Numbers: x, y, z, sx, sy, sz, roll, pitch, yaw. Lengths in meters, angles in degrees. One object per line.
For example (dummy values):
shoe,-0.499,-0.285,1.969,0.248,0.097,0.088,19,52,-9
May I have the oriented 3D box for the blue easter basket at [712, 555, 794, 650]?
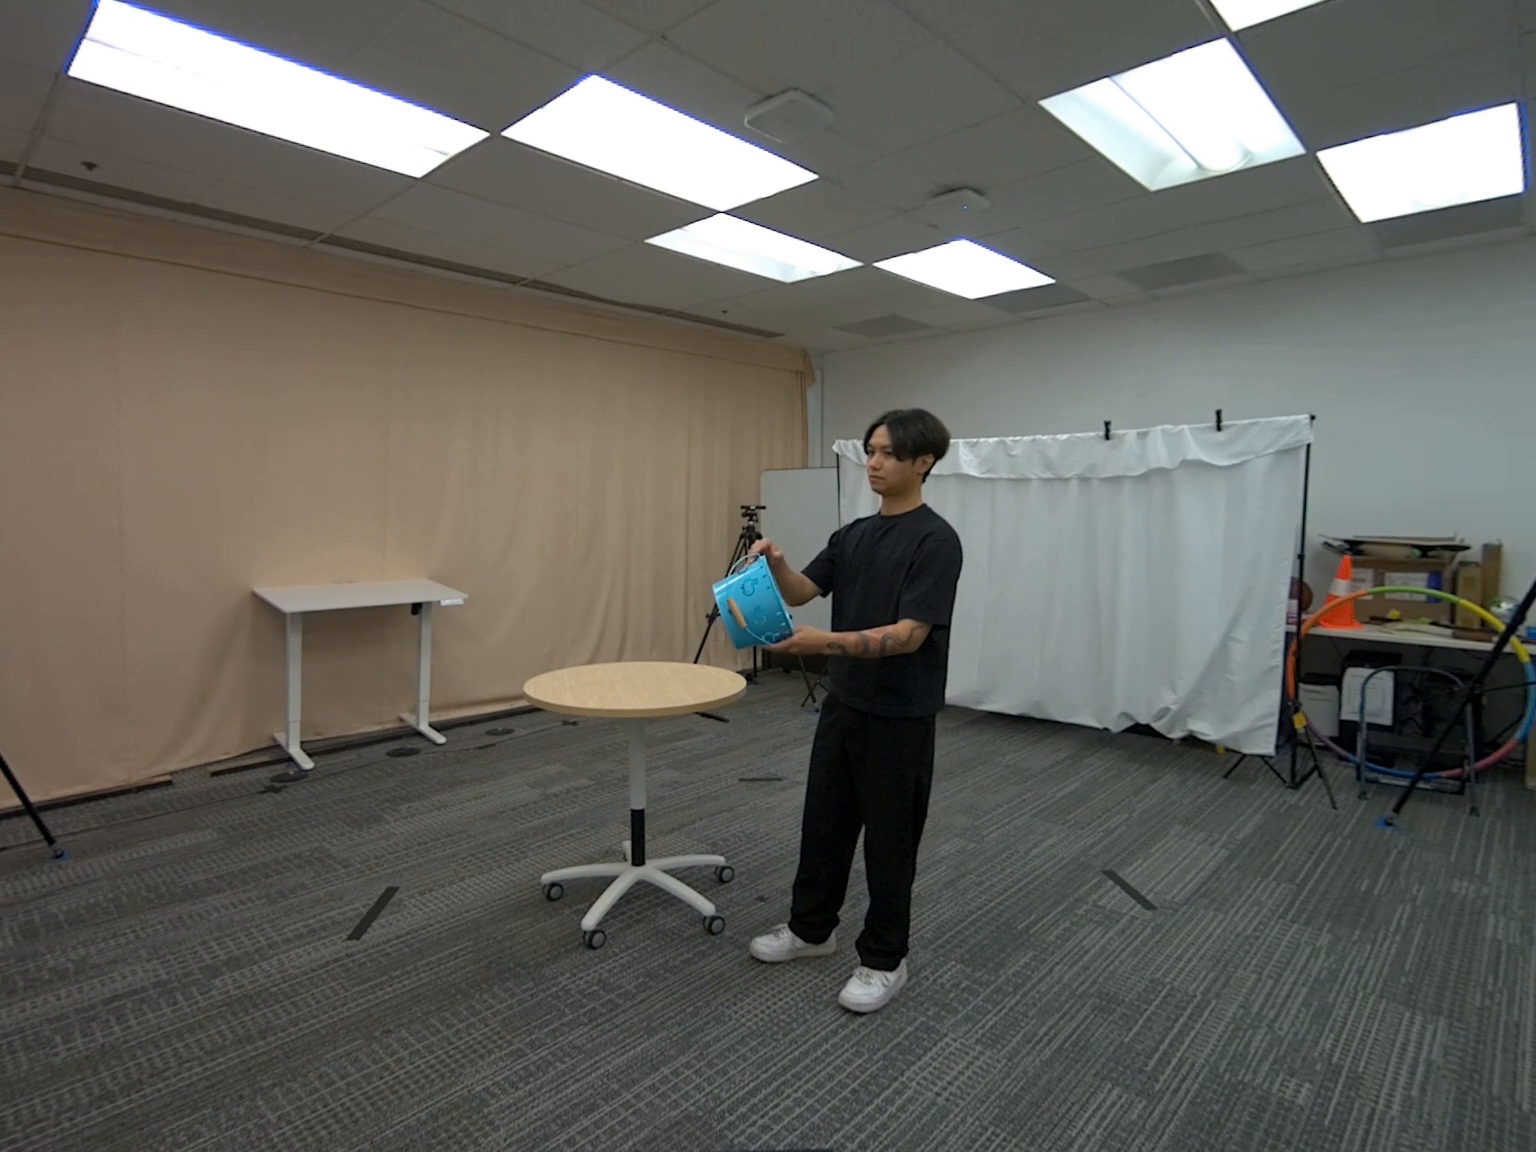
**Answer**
blue easter basket,-0.031,0.079,2.162,0.156,0.243,0.243,-20,3,3
